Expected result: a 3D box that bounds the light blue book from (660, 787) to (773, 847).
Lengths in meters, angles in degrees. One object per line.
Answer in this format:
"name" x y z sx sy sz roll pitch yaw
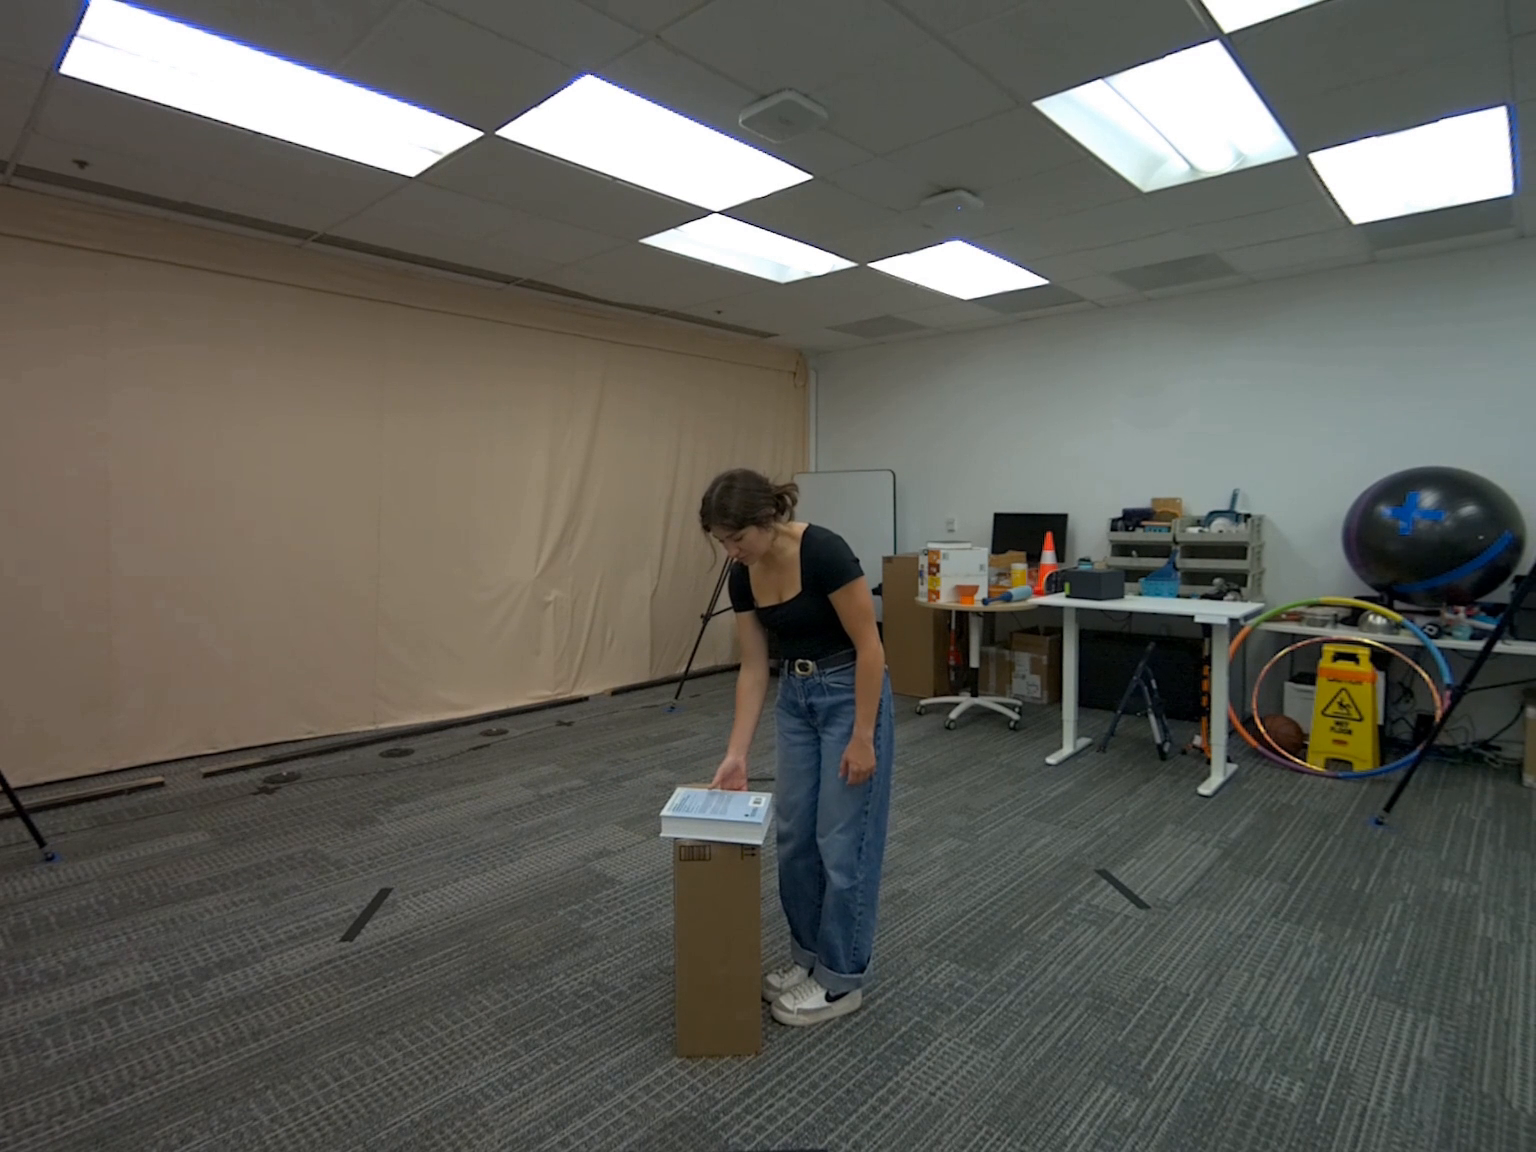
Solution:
"light blue book" -0.124 0.623 2.155 0.264 0.059 0.190 0 8 10
